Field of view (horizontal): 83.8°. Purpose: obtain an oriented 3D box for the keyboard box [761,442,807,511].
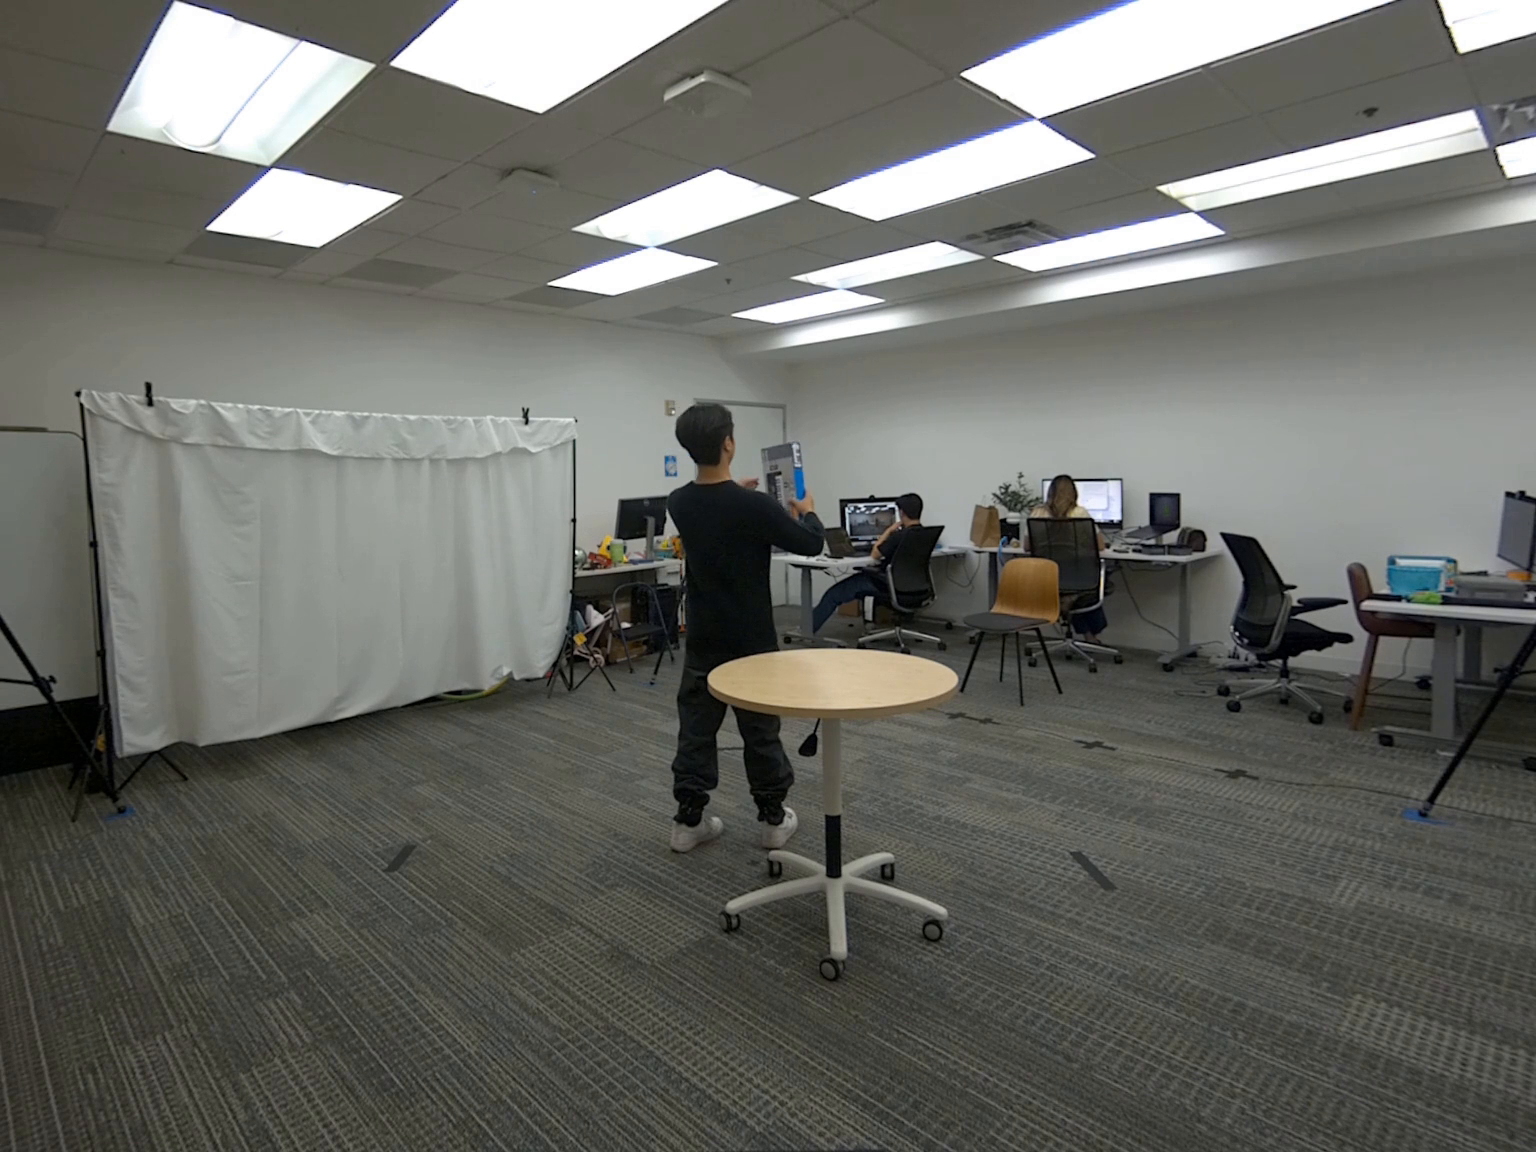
[{"bbox_3d":[0.077,-0.317,3.508,0.057,0.438,0.180,-3,-3,-43],"label":"keyboard box"}]
